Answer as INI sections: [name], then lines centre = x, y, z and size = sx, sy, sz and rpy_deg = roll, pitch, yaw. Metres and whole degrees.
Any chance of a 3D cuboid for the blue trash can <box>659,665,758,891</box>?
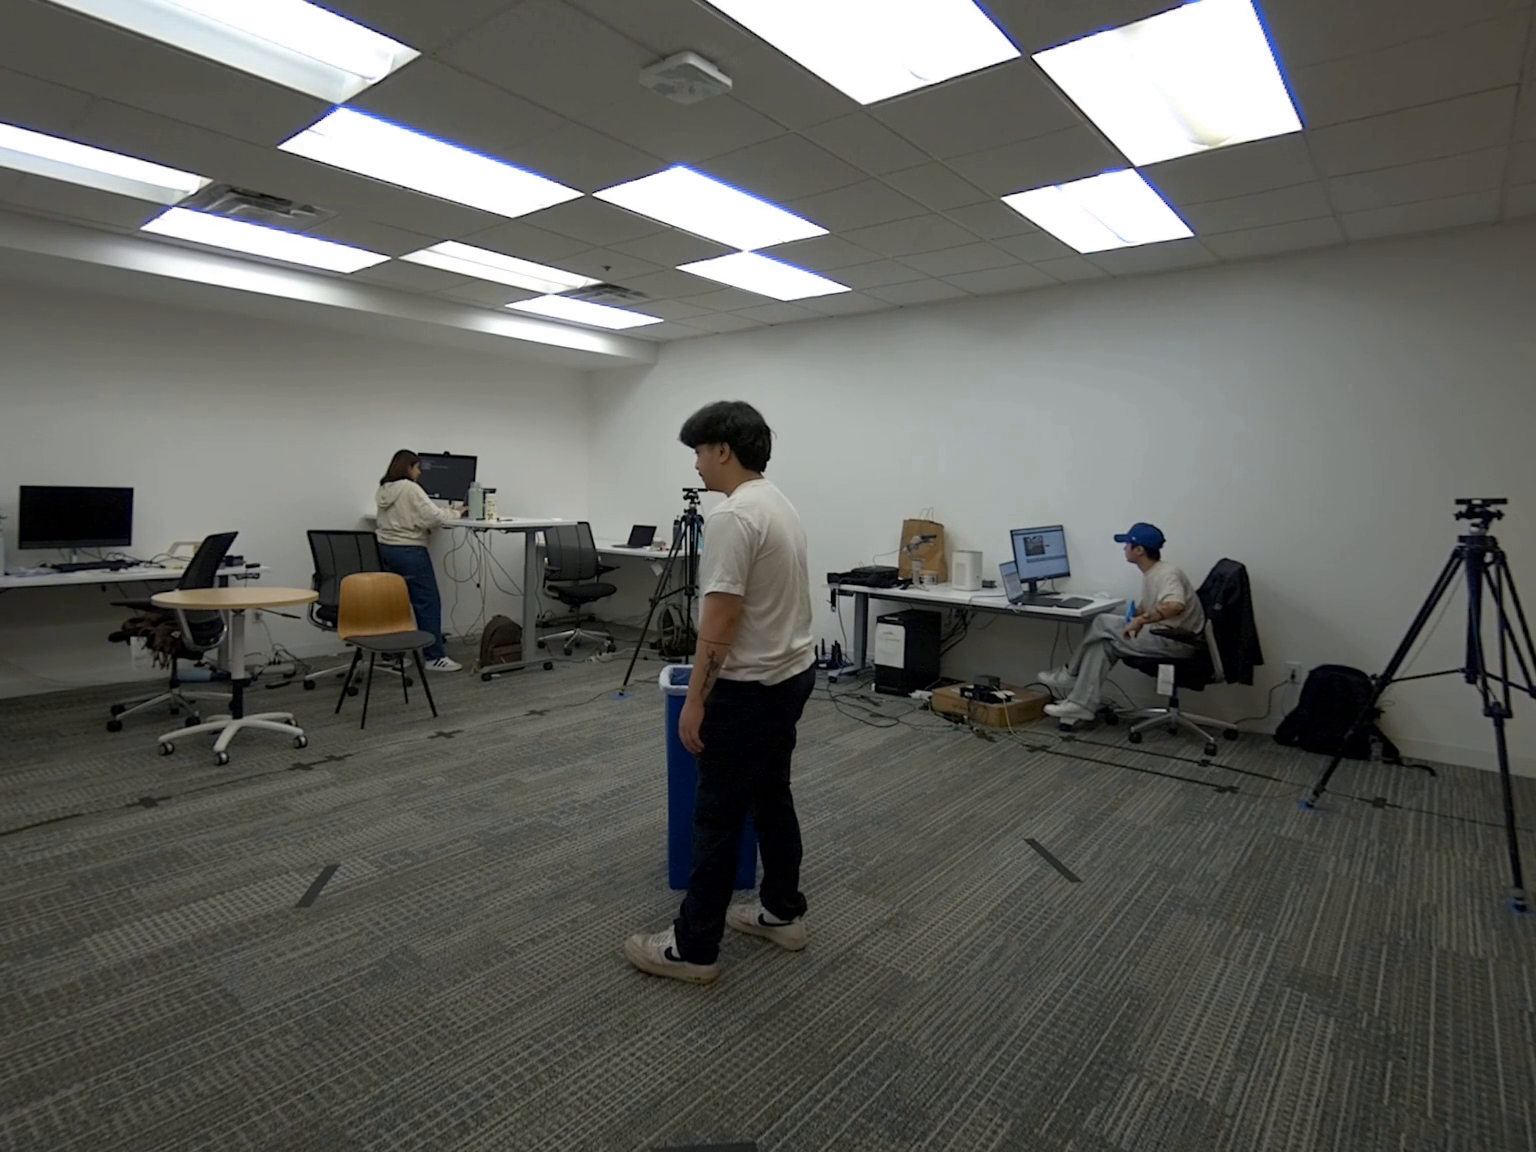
[blue trash can]
centre = -0.214, 0.713, 3.088
size = 0.377, 0.712, 0.377
rpy_deg = 1, 3, -4
